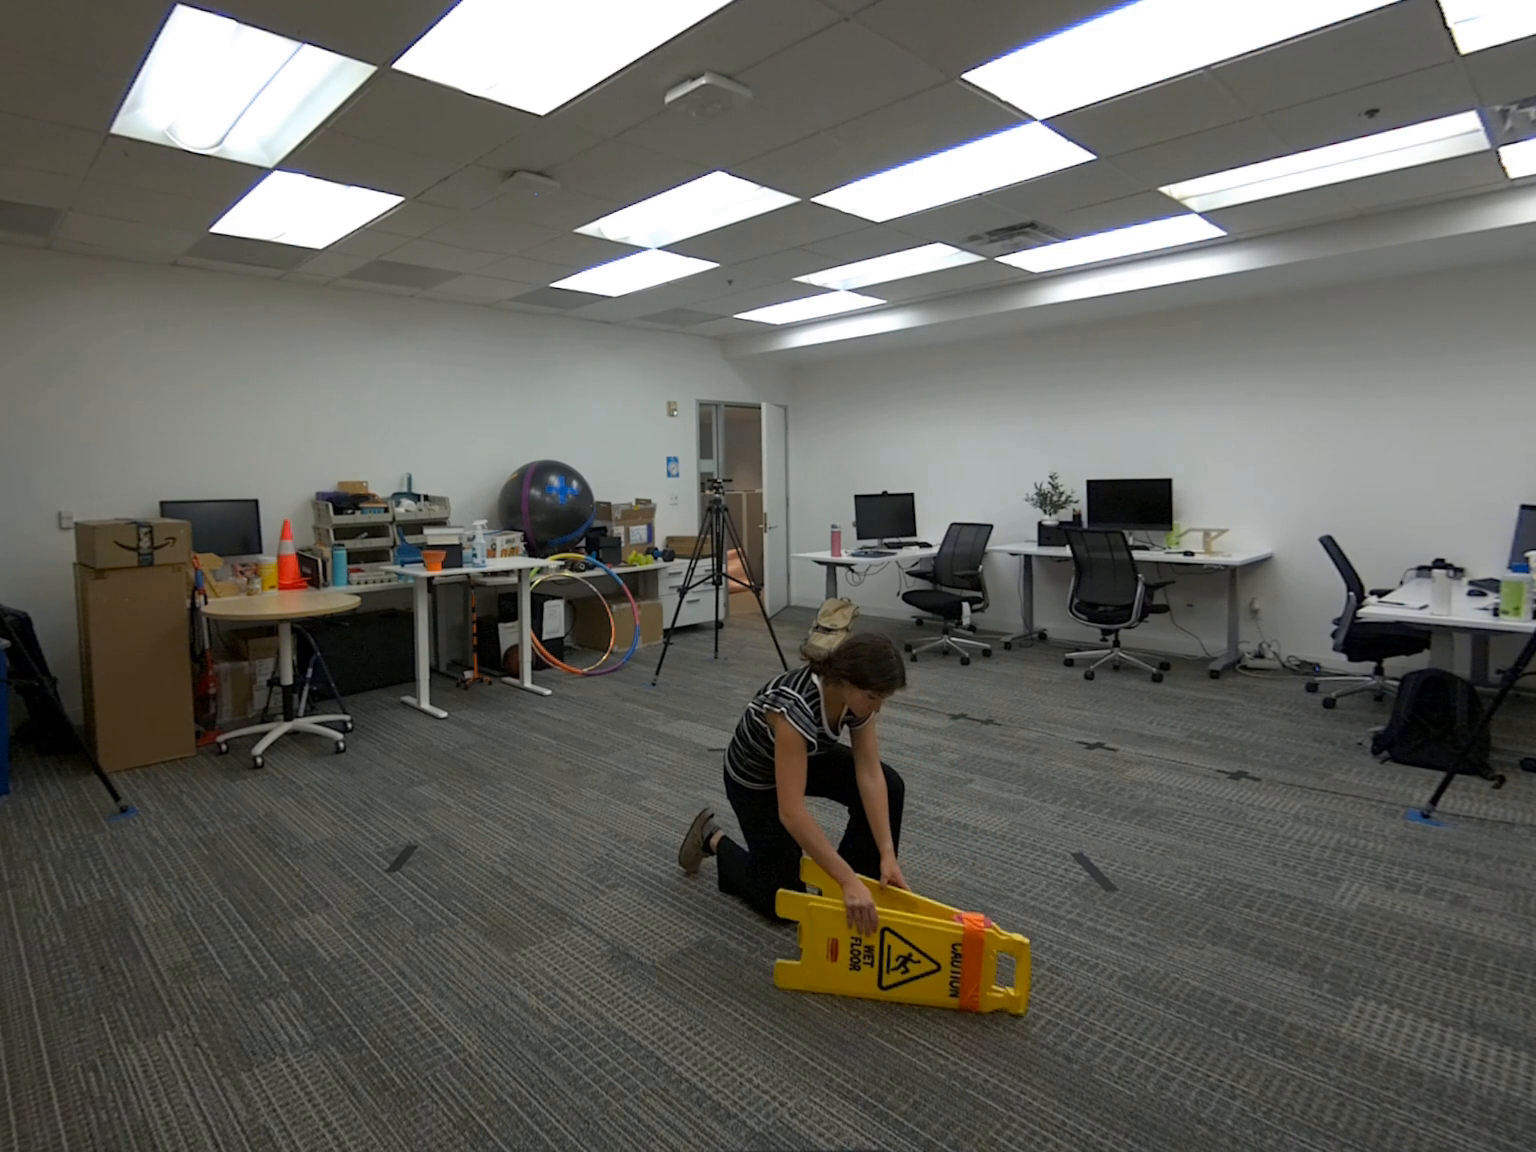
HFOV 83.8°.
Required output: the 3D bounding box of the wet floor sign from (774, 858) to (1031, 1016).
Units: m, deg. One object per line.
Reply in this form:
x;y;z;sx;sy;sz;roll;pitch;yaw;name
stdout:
0.369;1.007;2.311;0.660;0.281;0.285;3;5;22;wet floor sign
